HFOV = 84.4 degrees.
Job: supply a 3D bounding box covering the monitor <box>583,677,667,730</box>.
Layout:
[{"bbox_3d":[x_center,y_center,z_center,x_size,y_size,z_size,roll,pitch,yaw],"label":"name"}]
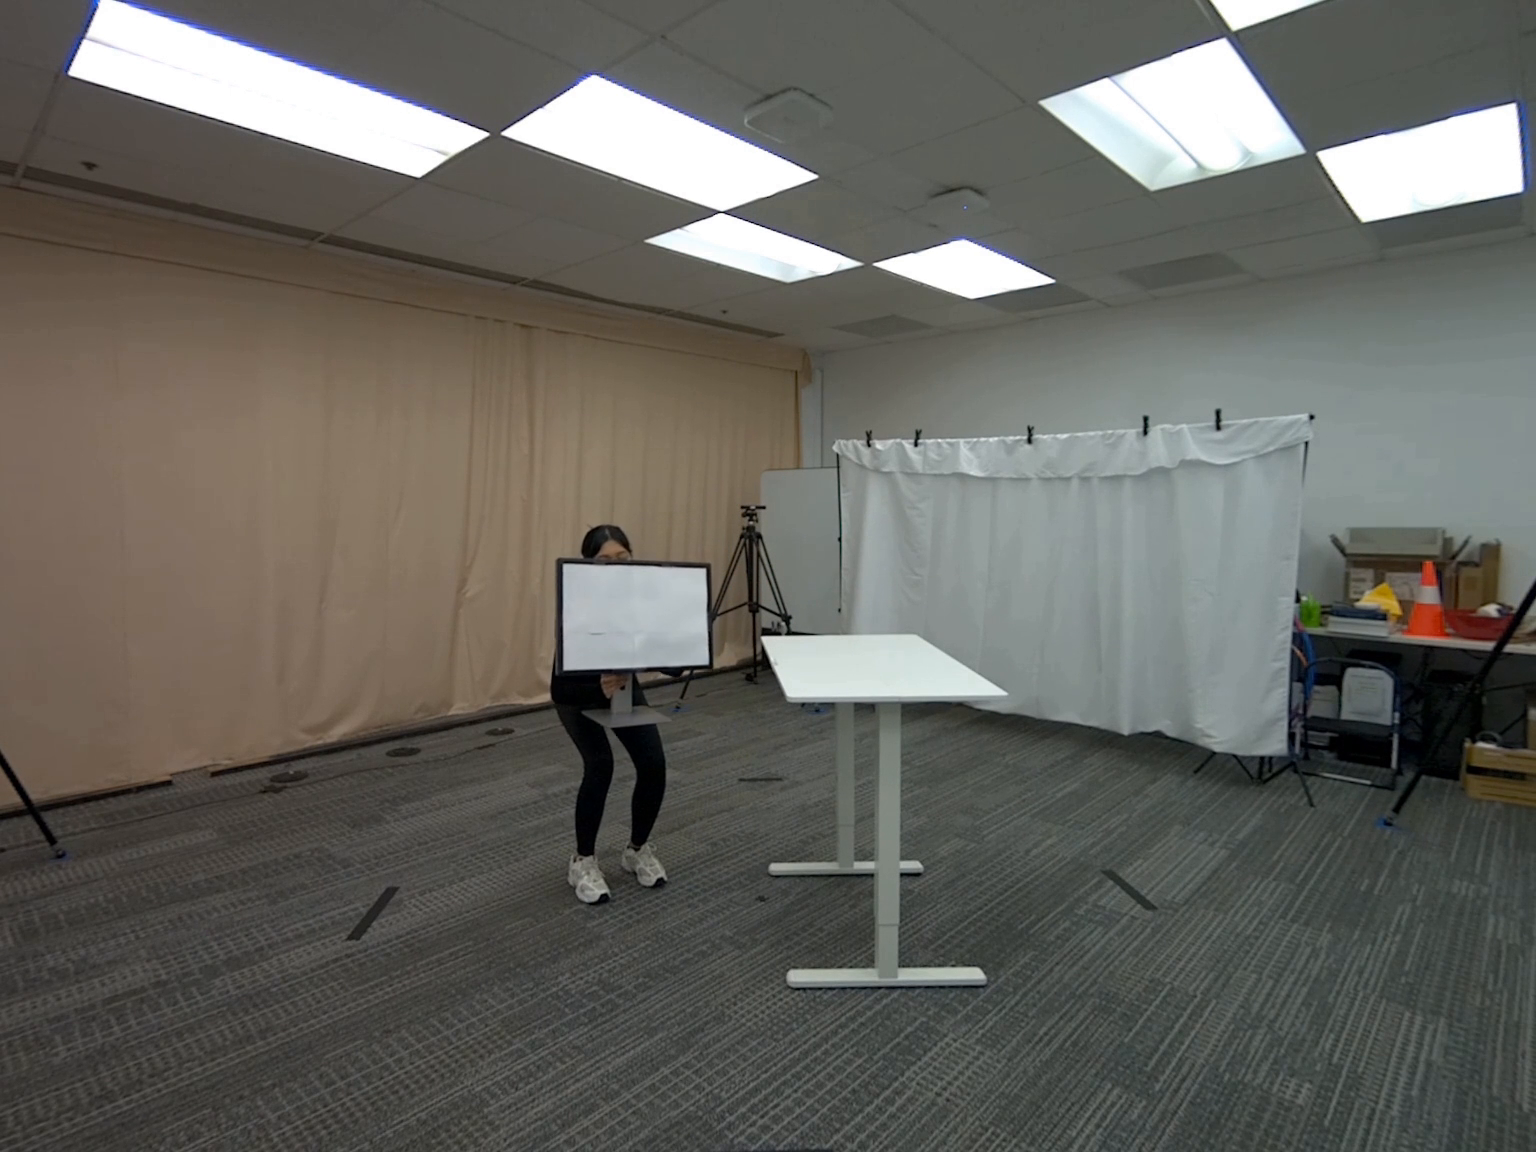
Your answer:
[{"bbox_3d":[-0.458,0.211,2.762,0.523,0.522,0.193,2,4,-36],"label":"monitor"}]
